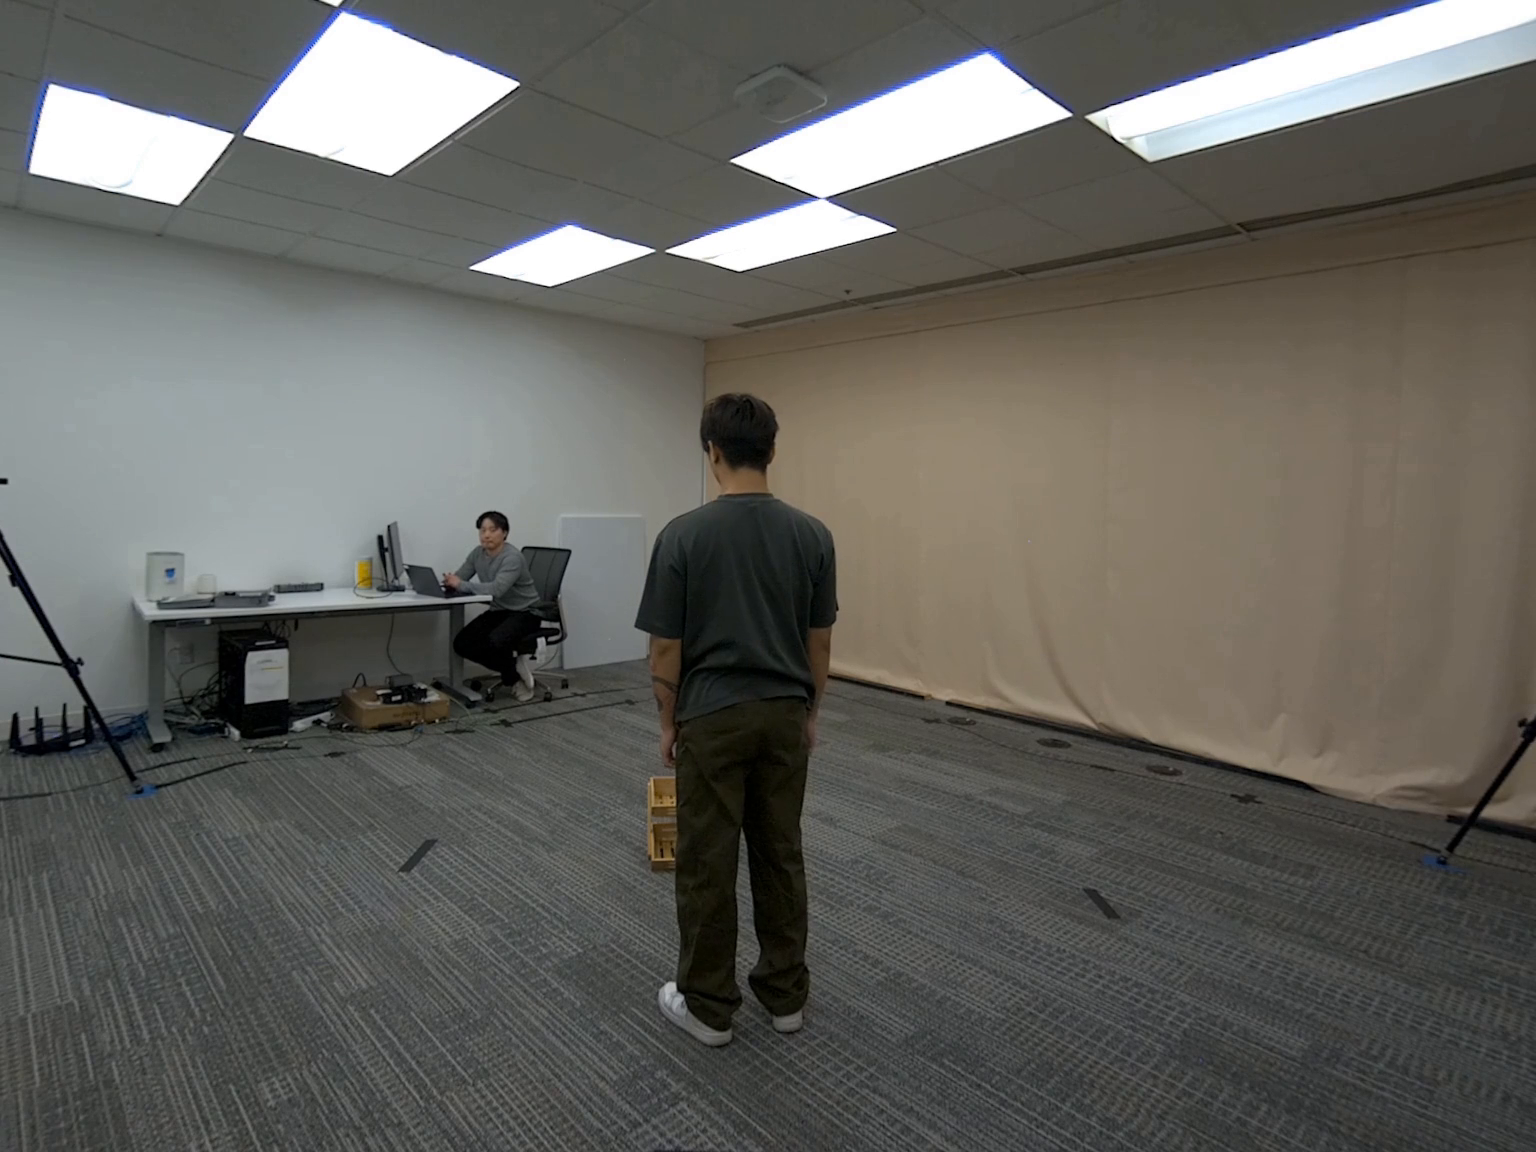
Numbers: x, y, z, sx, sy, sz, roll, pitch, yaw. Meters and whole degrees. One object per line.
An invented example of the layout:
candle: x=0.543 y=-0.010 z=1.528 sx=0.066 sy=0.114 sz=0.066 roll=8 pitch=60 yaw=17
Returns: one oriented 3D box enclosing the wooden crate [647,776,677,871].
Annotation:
wooden crate: x=-0.308 y=0.956 z=3.269 sx=0.322 sy=0.272 sz=0.305 roll=1 pitch=4 yaw=-9
